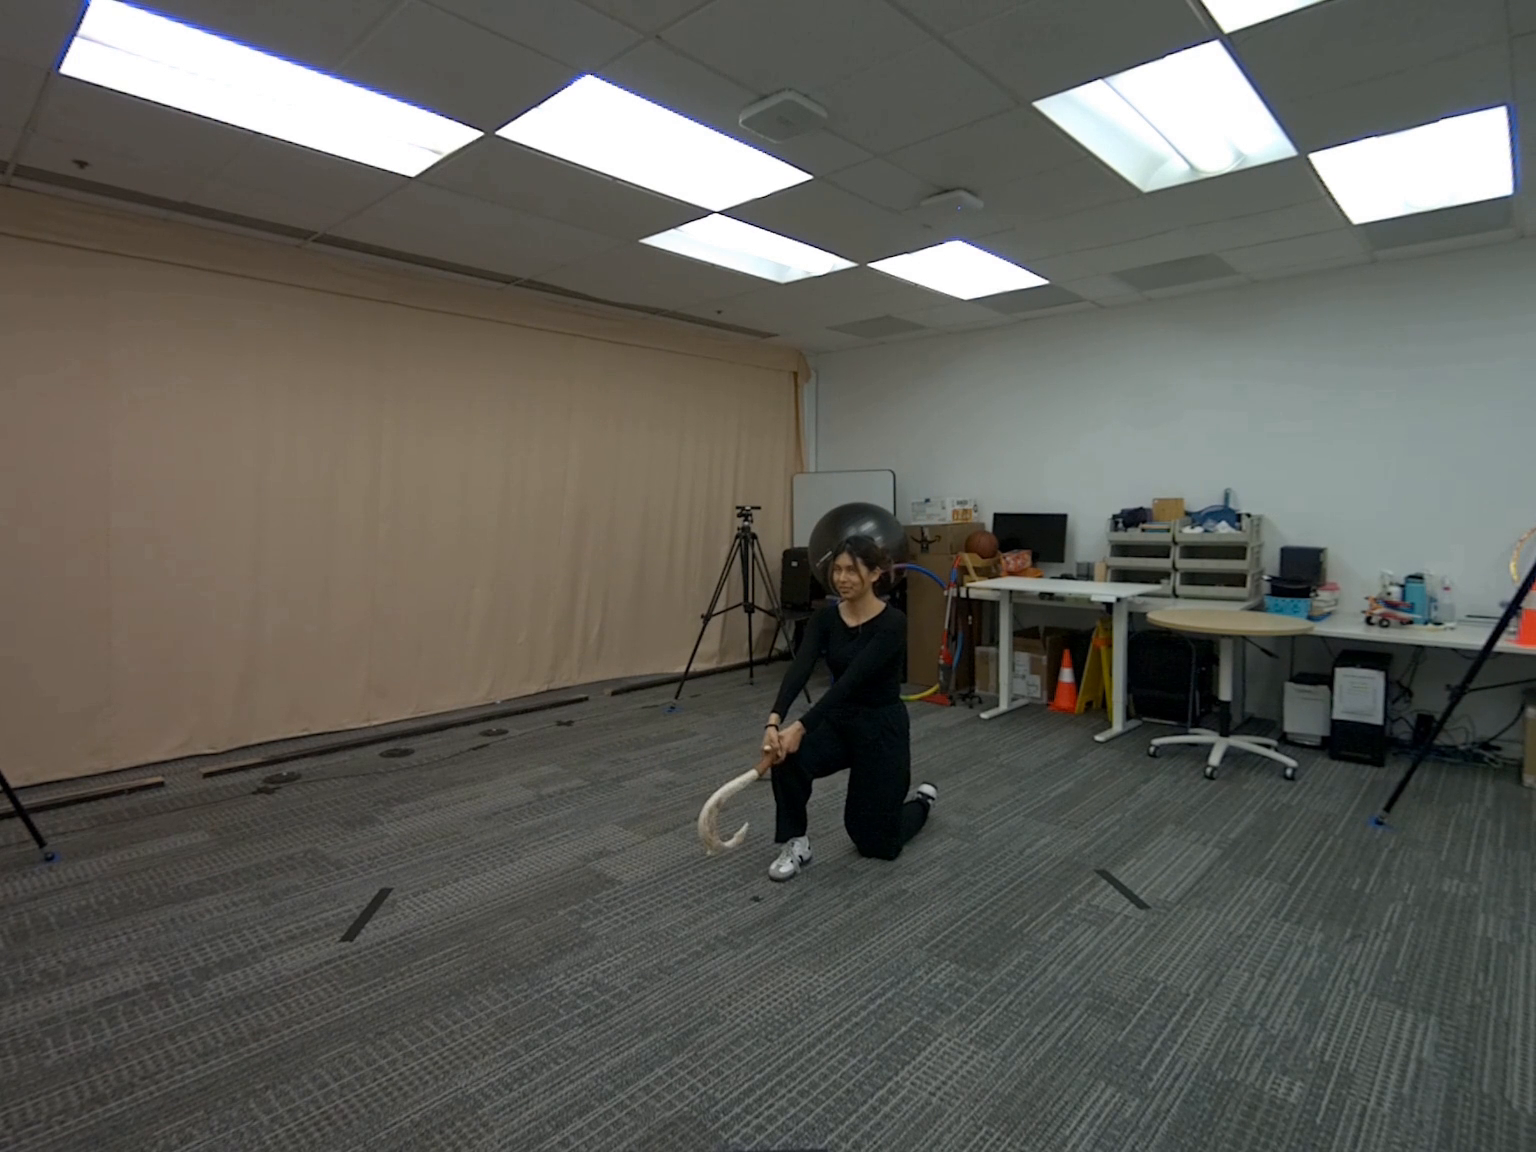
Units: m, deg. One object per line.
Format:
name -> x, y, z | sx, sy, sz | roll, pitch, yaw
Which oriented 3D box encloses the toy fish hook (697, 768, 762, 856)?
toy fish hook -> -0.071, 0.716, 2.881 | 0.050, 0.220, 0.499 | 10, 35, 42
